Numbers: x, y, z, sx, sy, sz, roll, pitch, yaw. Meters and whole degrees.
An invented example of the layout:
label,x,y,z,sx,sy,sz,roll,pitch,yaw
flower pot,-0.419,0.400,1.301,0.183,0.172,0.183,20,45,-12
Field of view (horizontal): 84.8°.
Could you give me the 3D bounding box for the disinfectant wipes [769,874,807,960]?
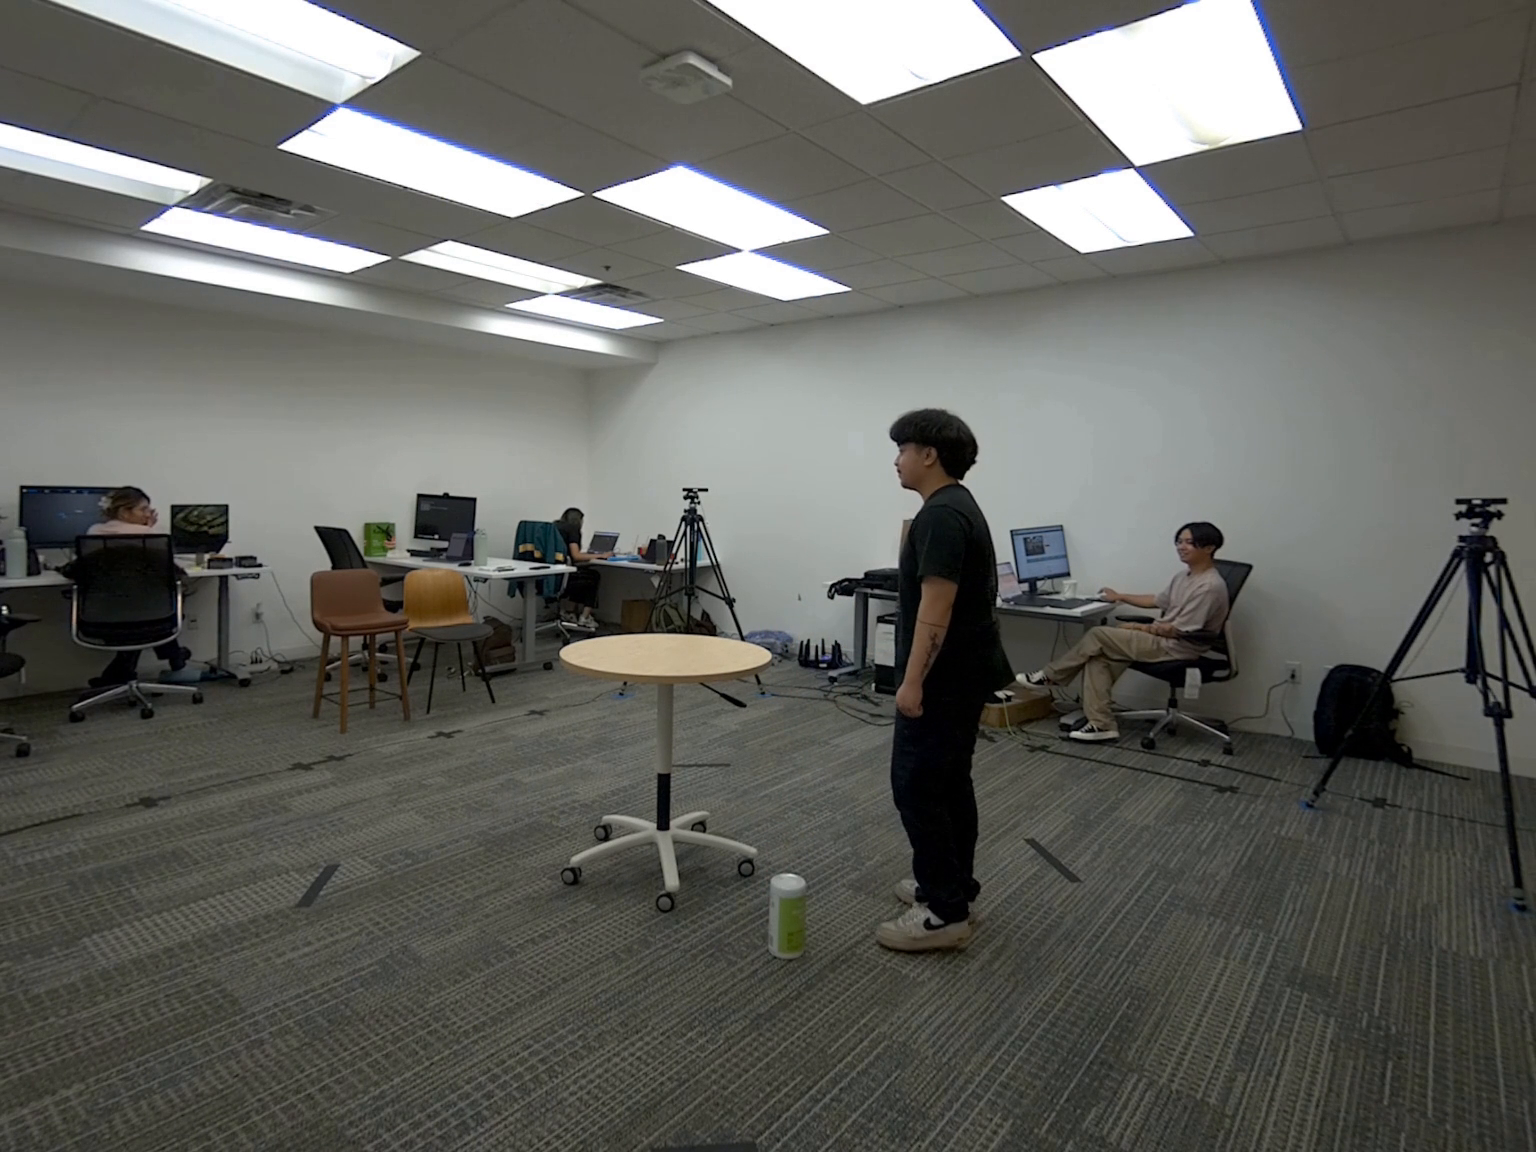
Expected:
label,x,y,z,sx,sy,sz,roll,pitch,yaw
disinfectant wipes,0.047,1.033,2.552,0.118,0.217,0.118,1,3,-2
